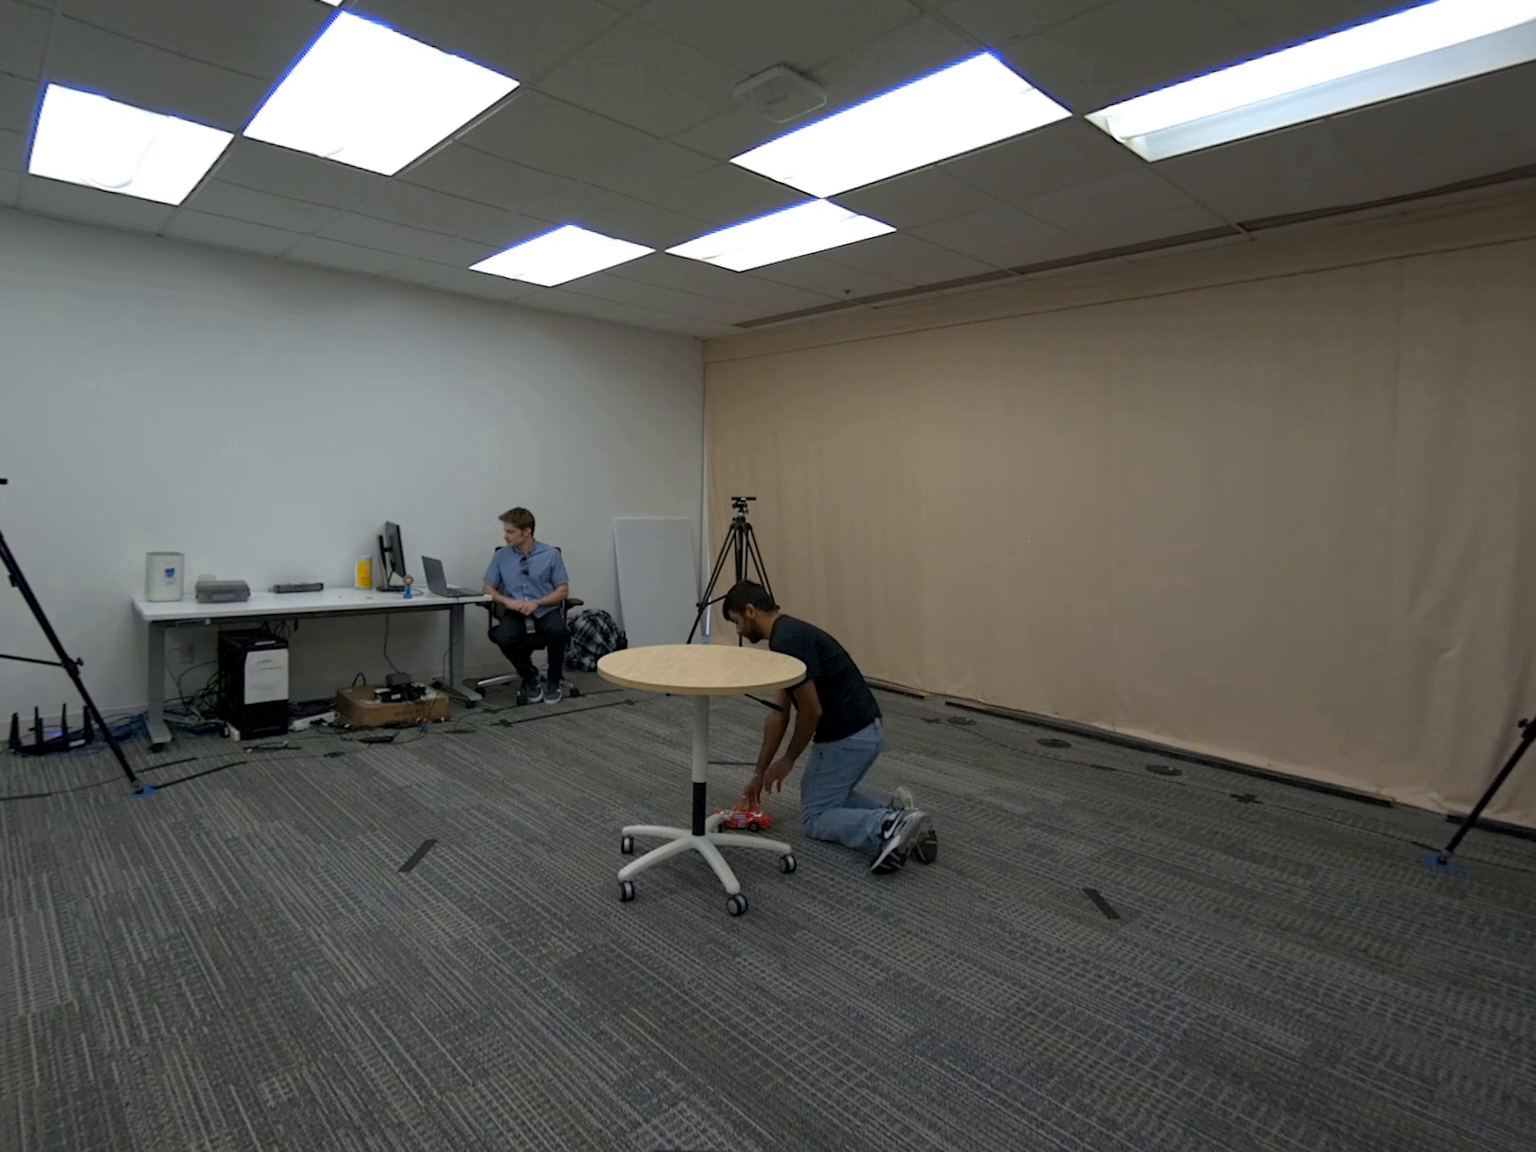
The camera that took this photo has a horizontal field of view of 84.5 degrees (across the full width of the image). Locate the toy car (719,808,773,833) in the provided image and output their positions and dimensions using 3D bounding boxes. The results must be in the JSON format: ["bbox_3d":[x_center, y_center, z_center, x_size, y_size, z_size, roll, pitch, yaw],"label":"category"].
[{"bbox_3d":[-0.112,1.029,3.581,0.256,0.083,0.129,-9,1,7],"label":"toy car"}]
